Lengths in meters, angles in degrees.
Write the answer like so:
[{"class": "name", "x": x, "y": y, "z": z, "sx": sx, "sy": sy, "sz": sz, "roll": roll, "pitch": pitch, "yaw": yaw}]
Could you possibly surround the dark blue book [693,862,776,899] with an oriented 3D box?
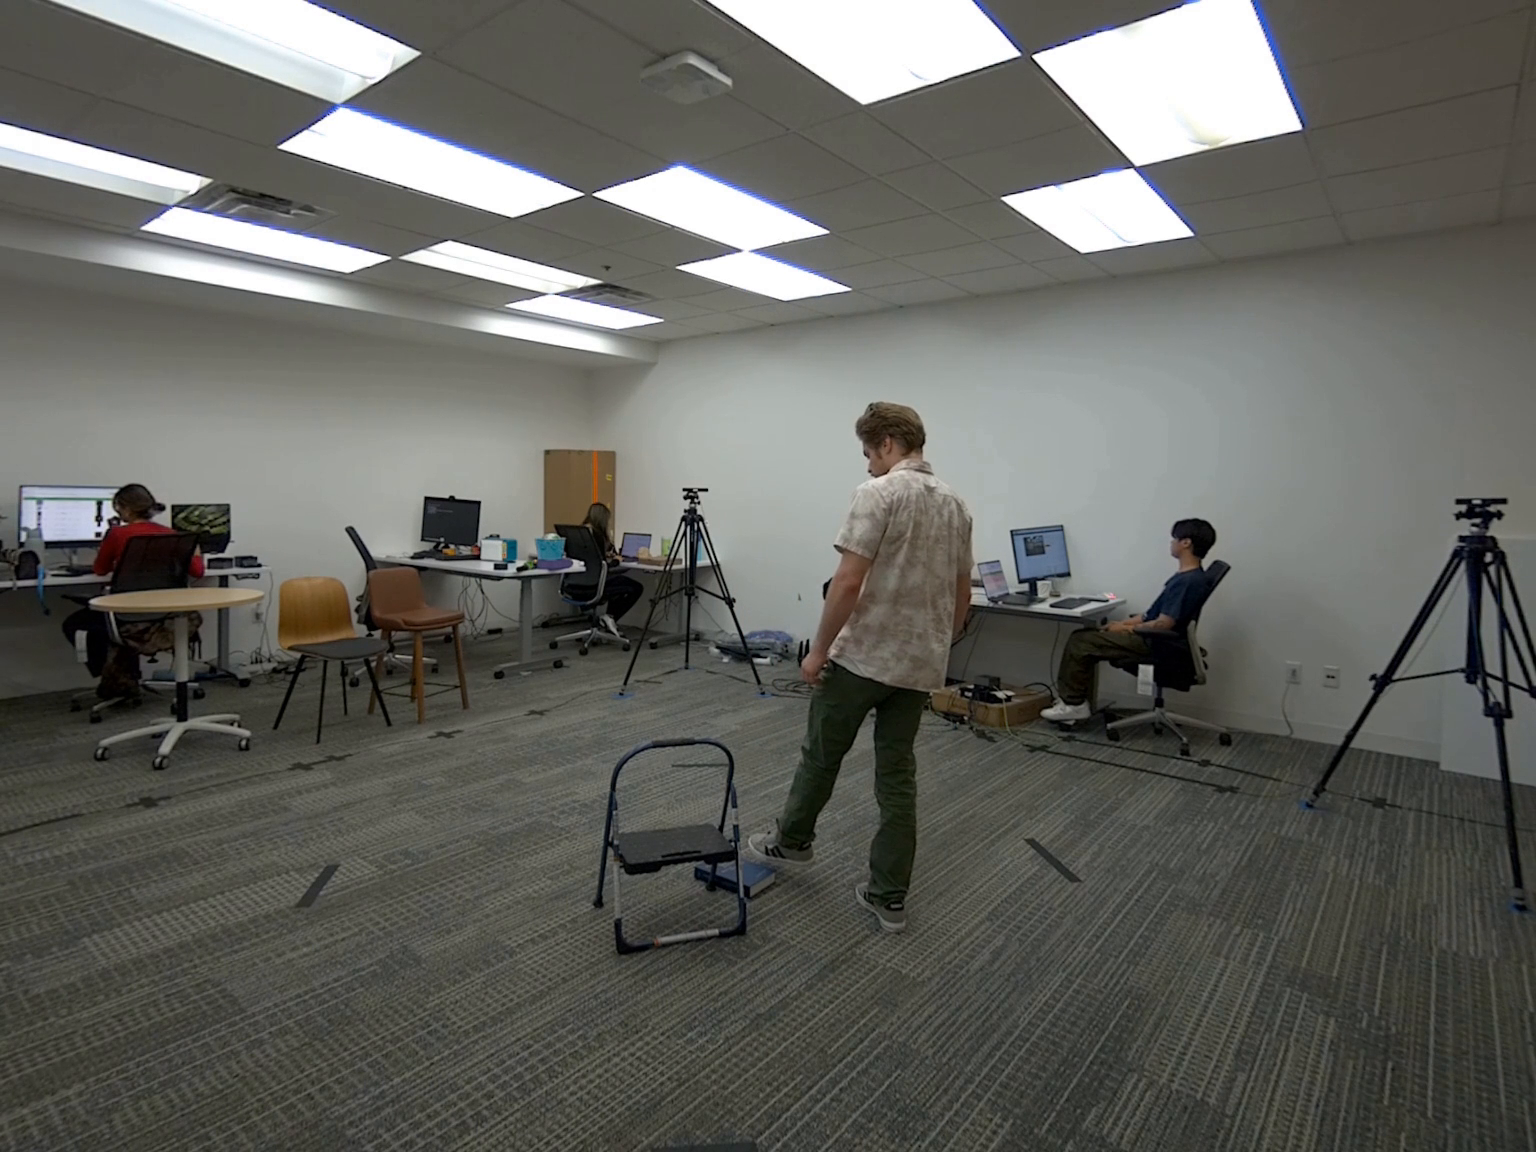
[{"class": "dark blue book", "x": -0.125, "y": 1.055, "z": 3.026, "sx": 0.253, "sy": 0.045, "sz": 0.159, "roll": 4, "pitch": 5, "yaw": 35}]
